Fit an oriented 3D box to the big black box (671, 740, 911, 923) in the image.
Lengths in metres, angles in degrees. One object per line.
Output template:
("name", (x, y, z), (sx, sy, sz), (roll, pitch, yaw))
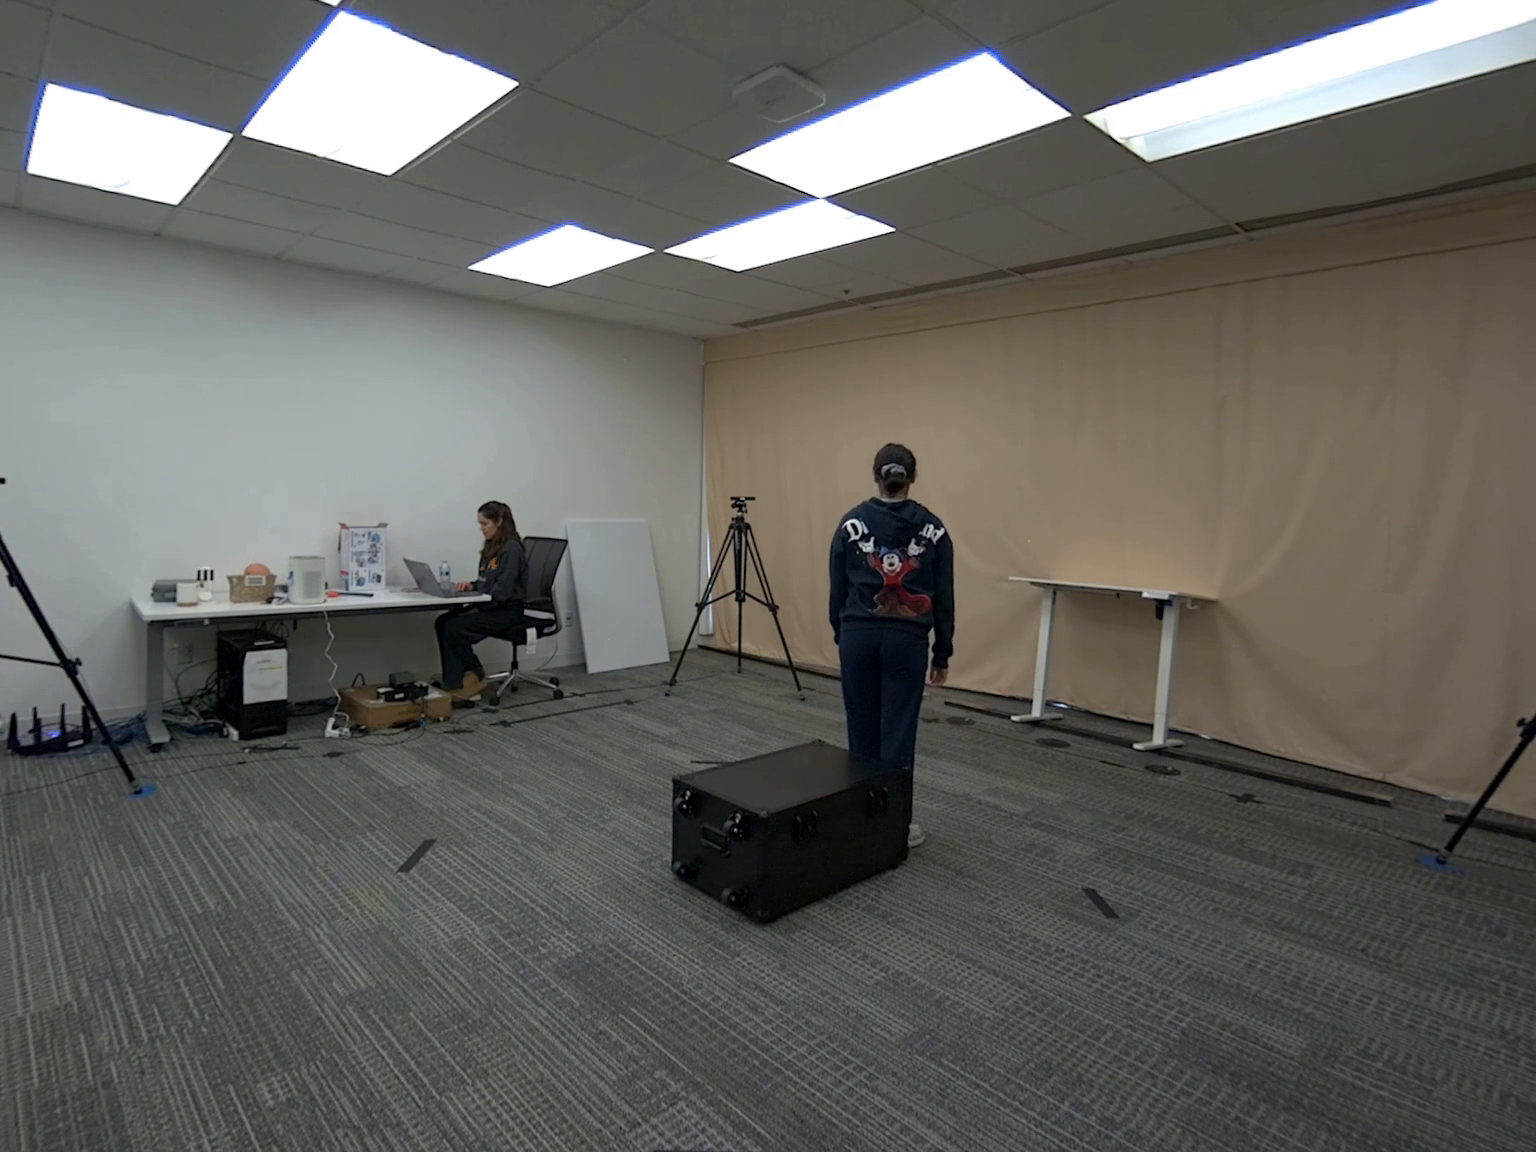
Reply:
("big black box", (0.064, 0.918, 3.123), (0.841, 0.395, 0.534), (-2, 5, -44))
